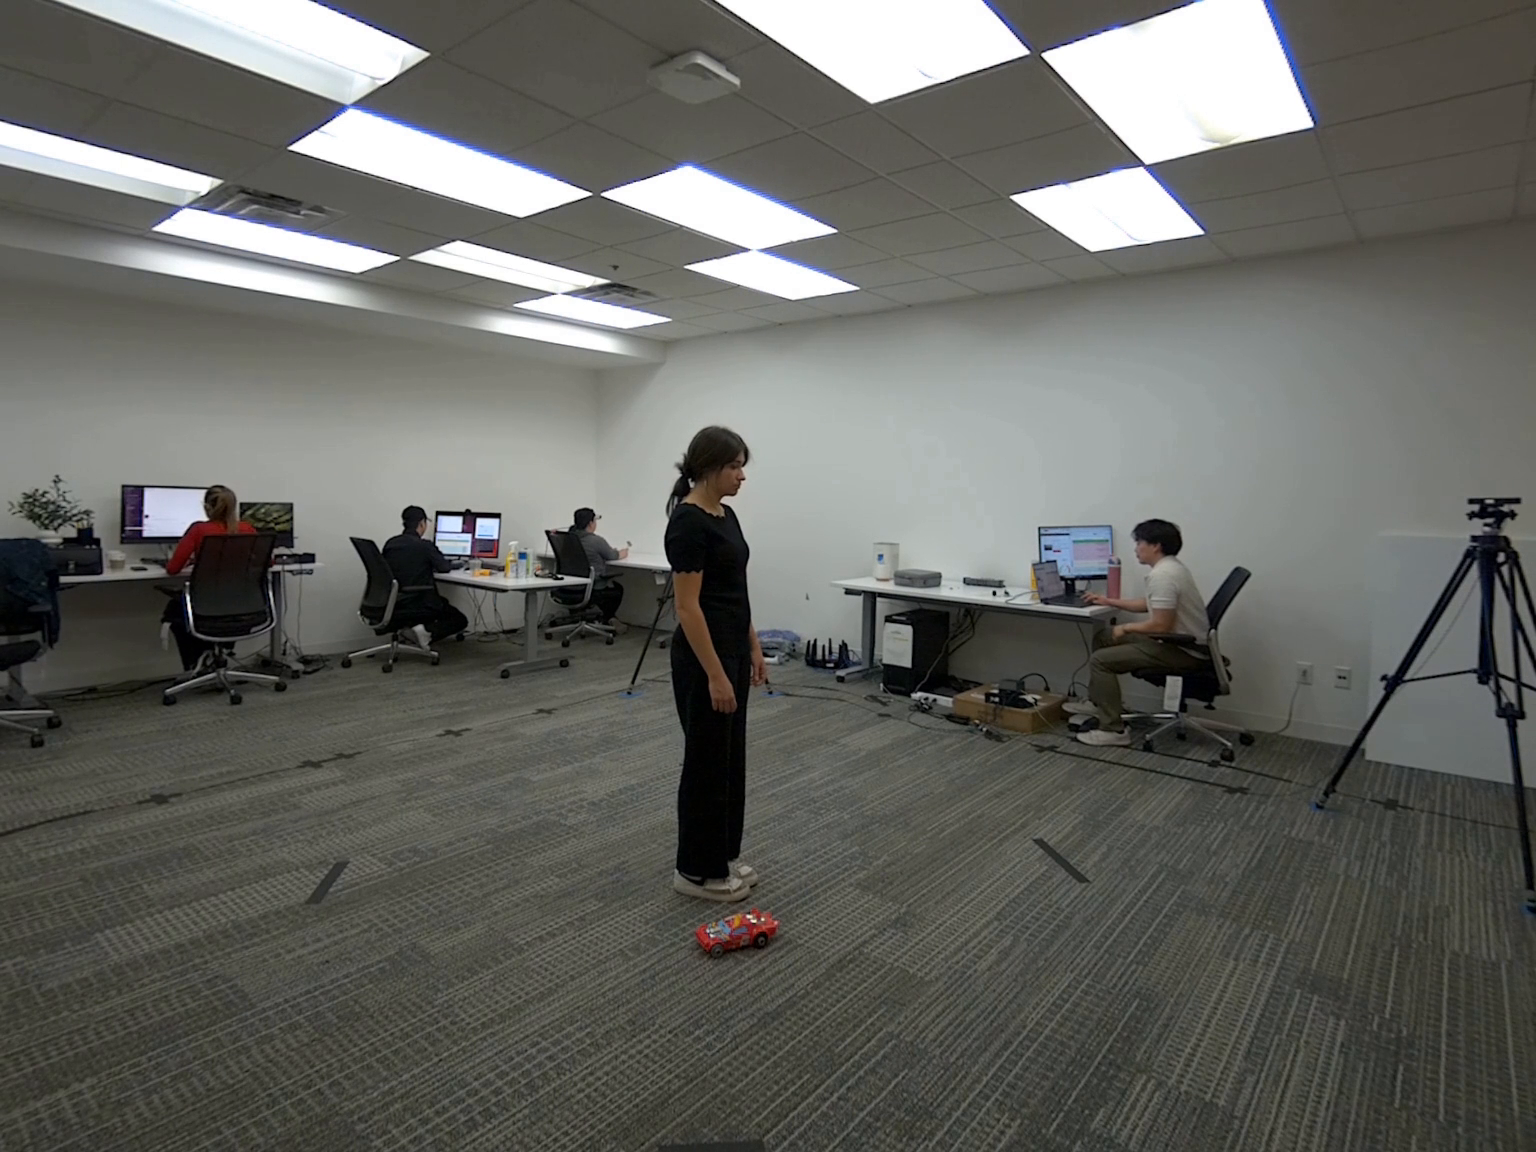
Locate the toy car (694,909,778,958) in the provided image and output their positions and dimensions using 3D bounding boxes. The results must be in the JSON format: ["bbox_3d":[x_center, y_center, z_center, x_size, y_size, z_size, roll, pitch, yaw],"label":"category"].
[{"bbox_3d":[-0.096,1.085,2.597,0.250,0.082,0.134,-13,11,-23],"label":"toy car"}]
